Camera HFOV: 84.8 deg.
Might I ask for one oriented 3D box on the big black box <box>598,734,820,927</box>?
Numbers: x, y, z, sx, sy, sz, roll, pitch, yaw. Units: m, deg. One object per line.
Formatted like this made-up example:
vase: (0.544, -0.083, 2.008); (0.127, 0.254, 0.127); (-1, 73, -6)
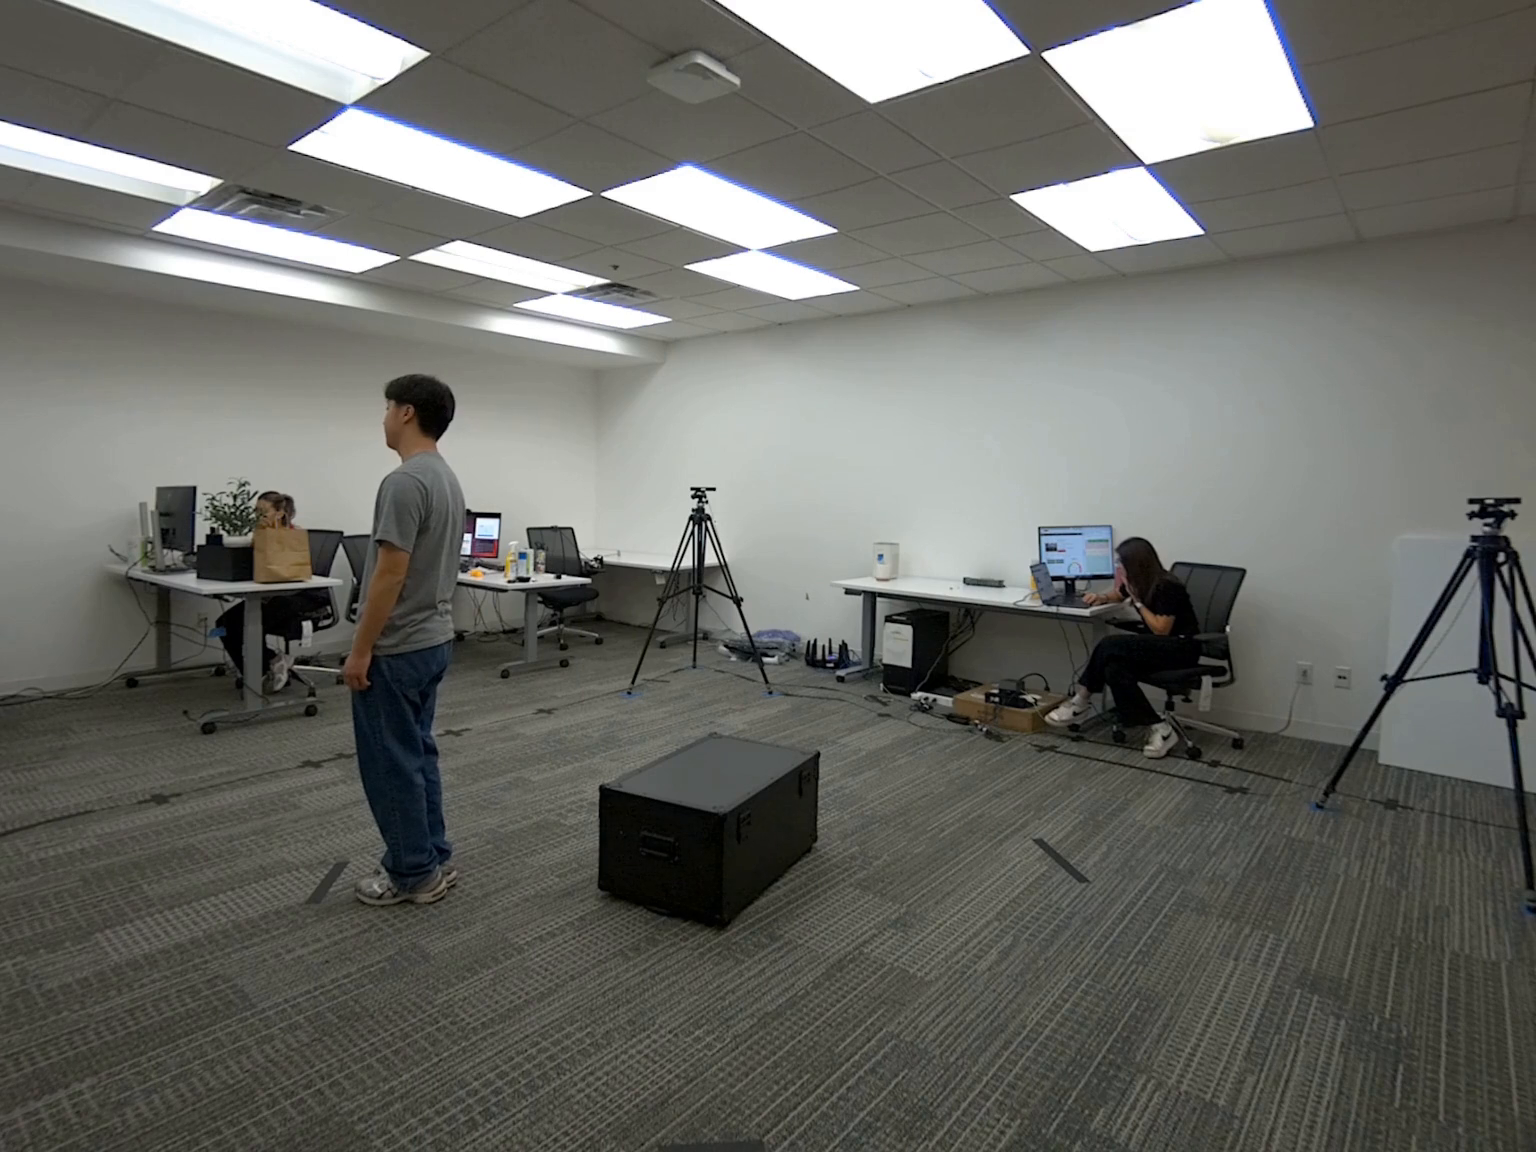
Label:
big black box: (-0.179, 0.876, 3.114); (0.535, 0.395, 0.842); (3, 6, 26)
